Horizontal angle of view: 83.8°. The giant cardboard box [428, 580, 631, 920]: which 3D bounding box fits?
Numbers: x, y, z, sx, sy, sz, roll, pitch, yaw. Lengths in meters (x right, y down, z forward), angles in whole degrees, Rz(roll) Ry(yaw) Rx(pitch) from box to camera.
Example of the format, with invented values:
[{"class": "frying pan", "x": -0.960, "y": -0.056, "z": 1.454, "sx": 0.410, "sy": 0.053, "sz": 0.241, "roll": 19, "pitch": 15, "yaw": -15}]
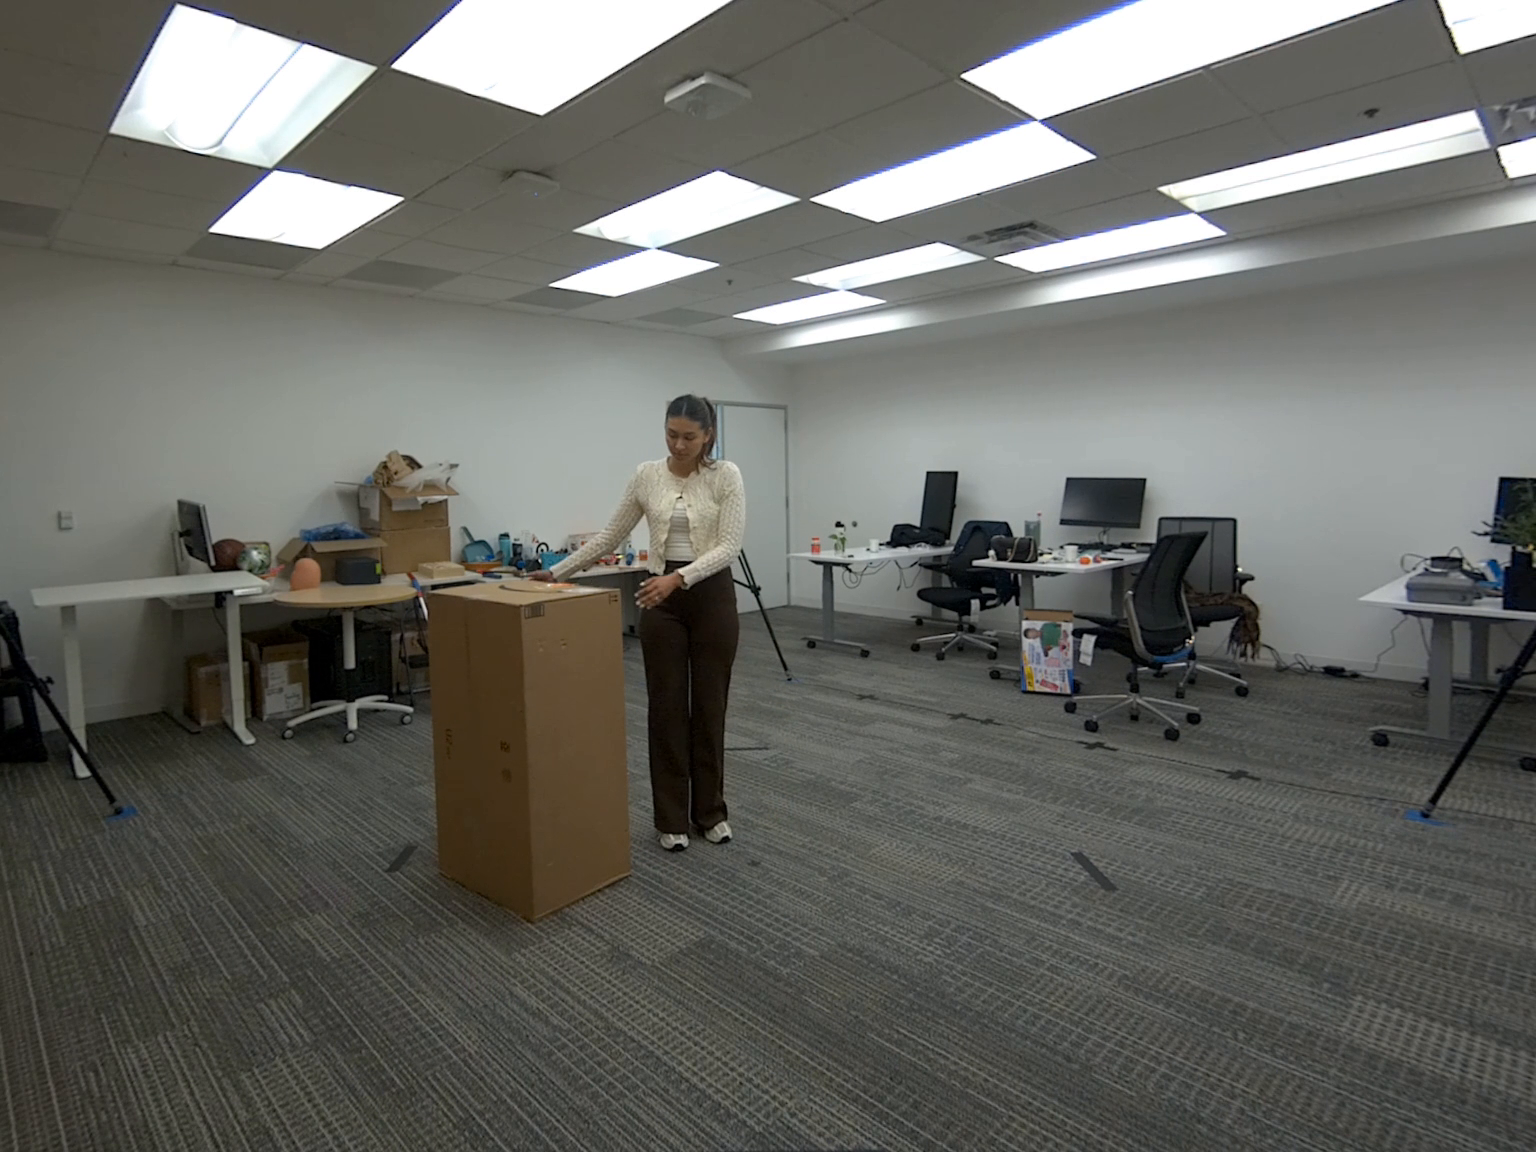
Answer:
[{"class": "giant cardboard box", "x": -0.849, "y": 0.559, "z": 3.027, "sx": 0.595, "sy": 1.022, "sz": 0.415, "roll": 2, "pitch": 5, "yaw": 40}]
